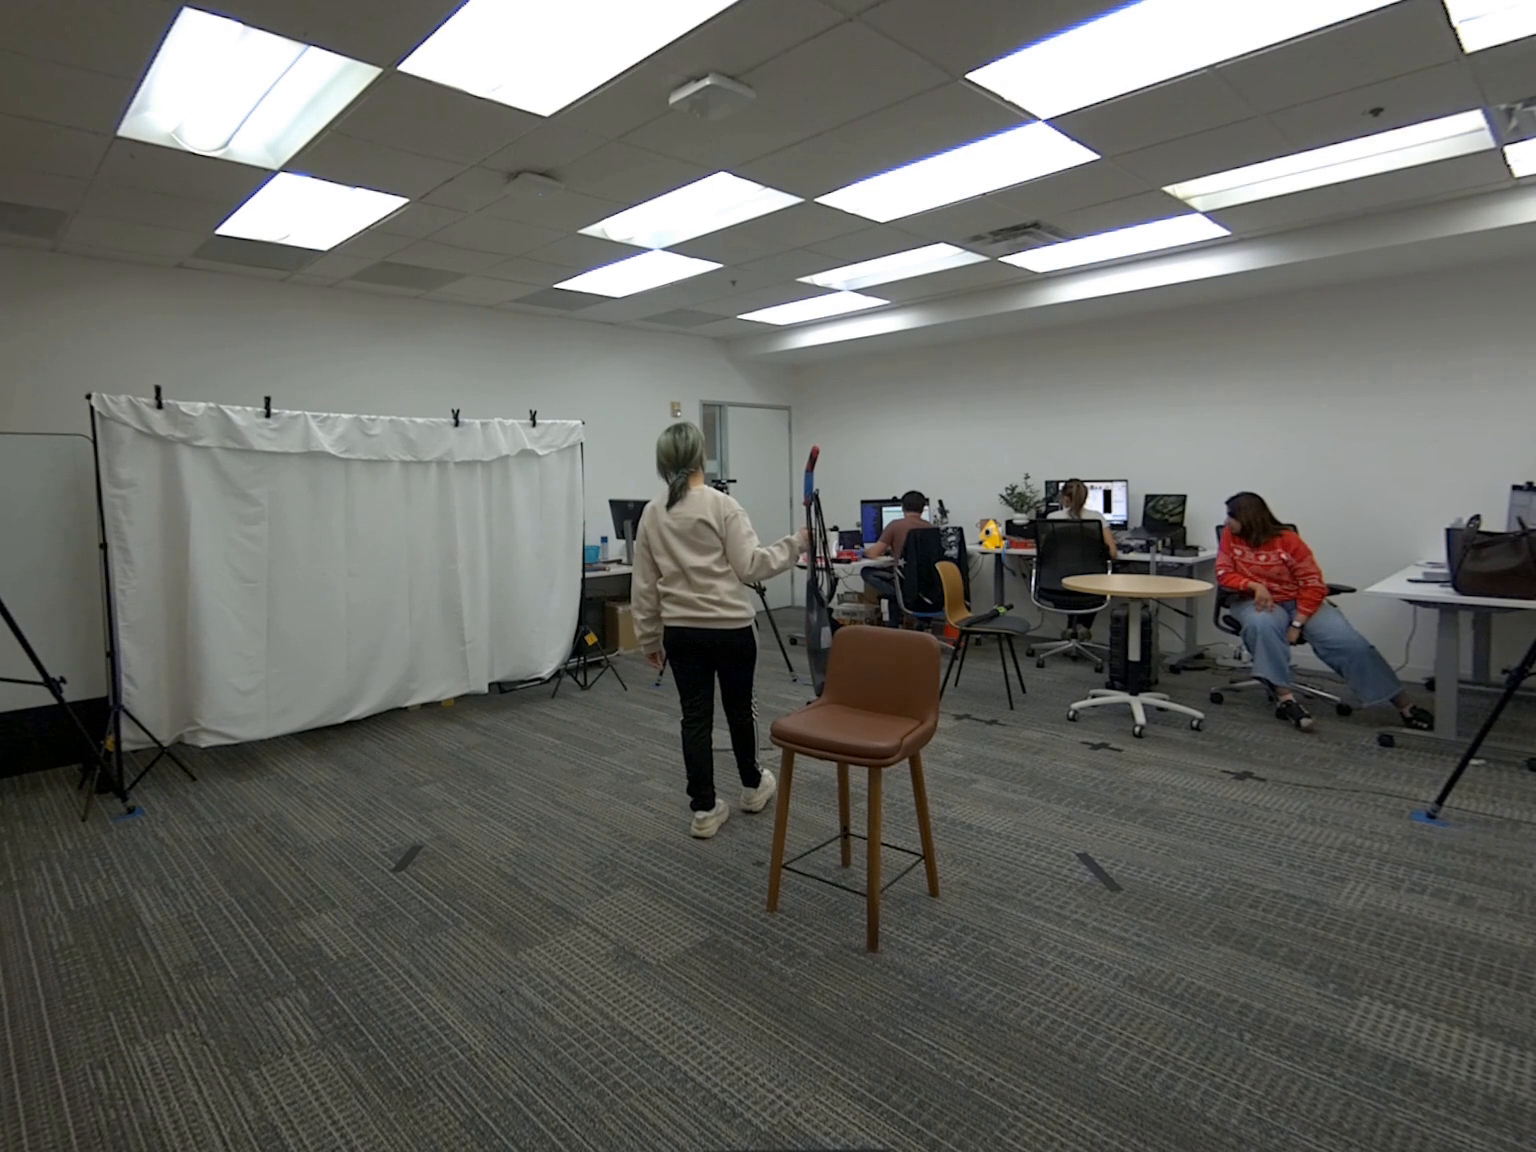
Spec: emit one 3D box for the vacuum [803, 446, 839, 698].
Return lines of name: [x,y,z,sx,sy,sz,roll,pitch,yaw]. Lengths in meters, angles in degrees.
vacuum: [0.193,0.020,3.341,0.246,1.040,0.149,-6,11,-34]
